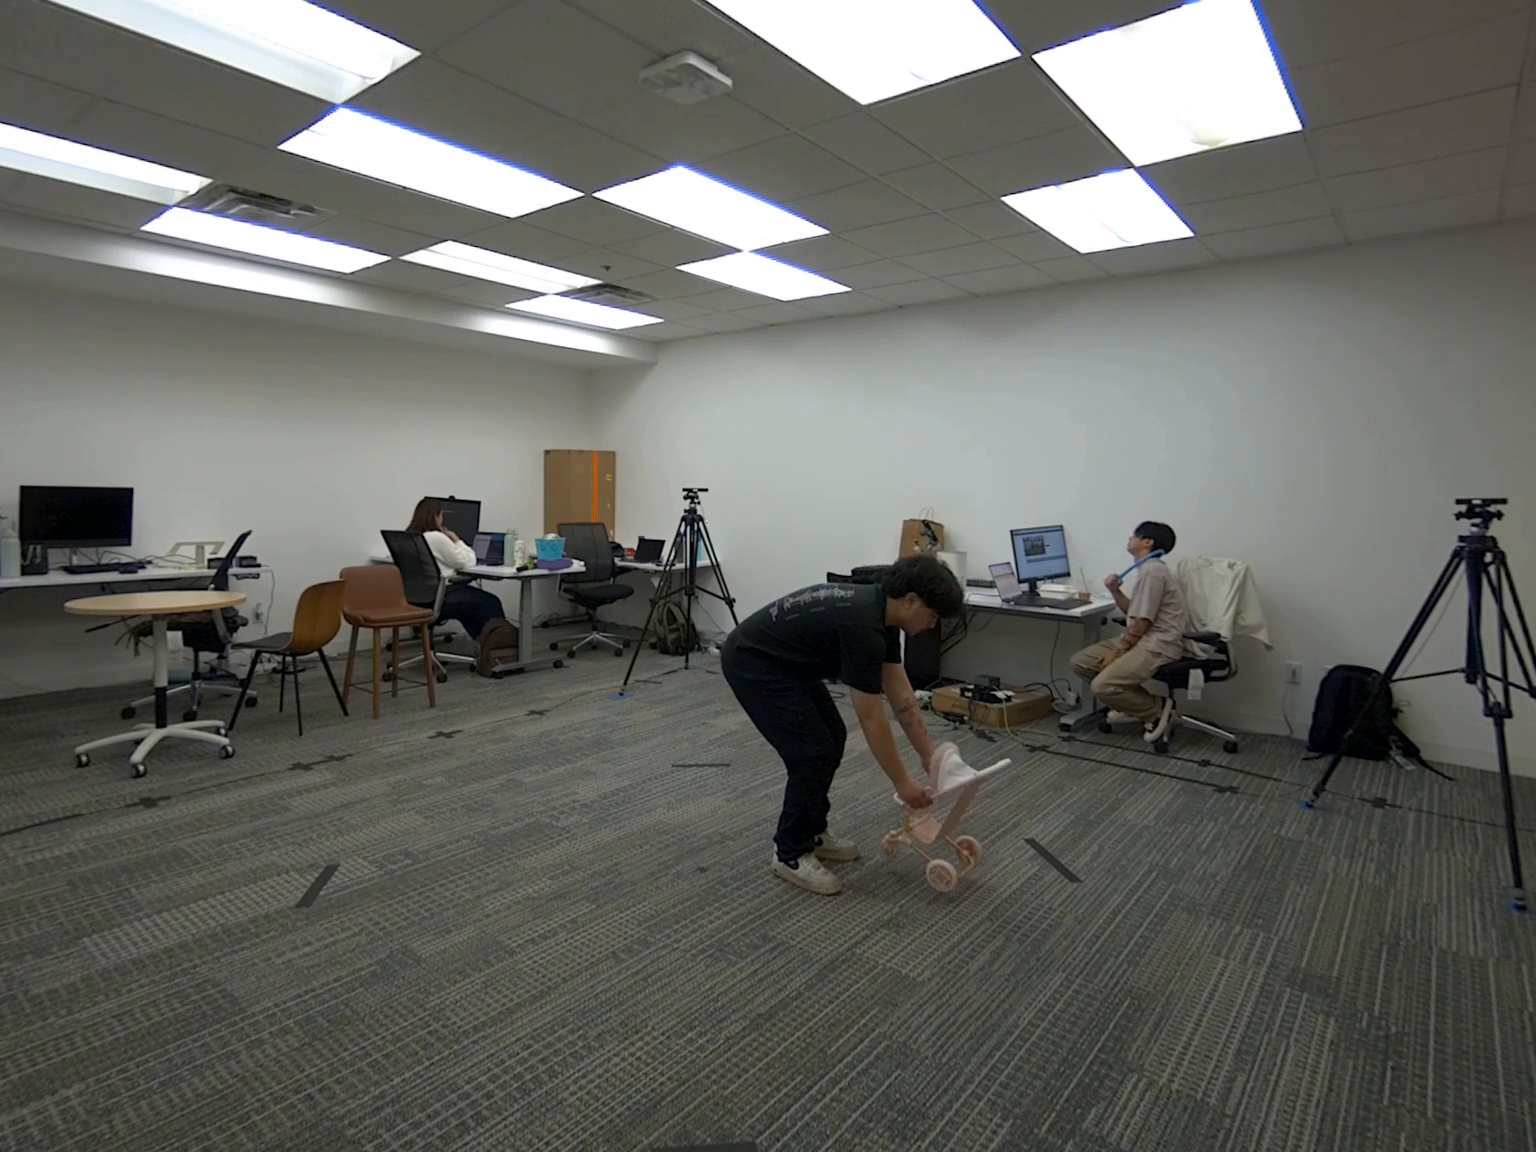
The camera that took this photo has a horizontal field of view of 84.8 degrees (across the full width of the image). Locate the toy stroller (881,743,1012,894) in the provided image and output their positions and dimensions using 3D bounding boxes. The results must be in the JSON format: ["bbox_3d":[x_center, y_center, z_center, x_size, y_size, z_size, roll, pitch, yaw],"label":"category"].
[{"bbox_3d":[0.606,0.824,3.021,0.355,0.530,0.273,23,16,37],"label":"toy stroller"}]
